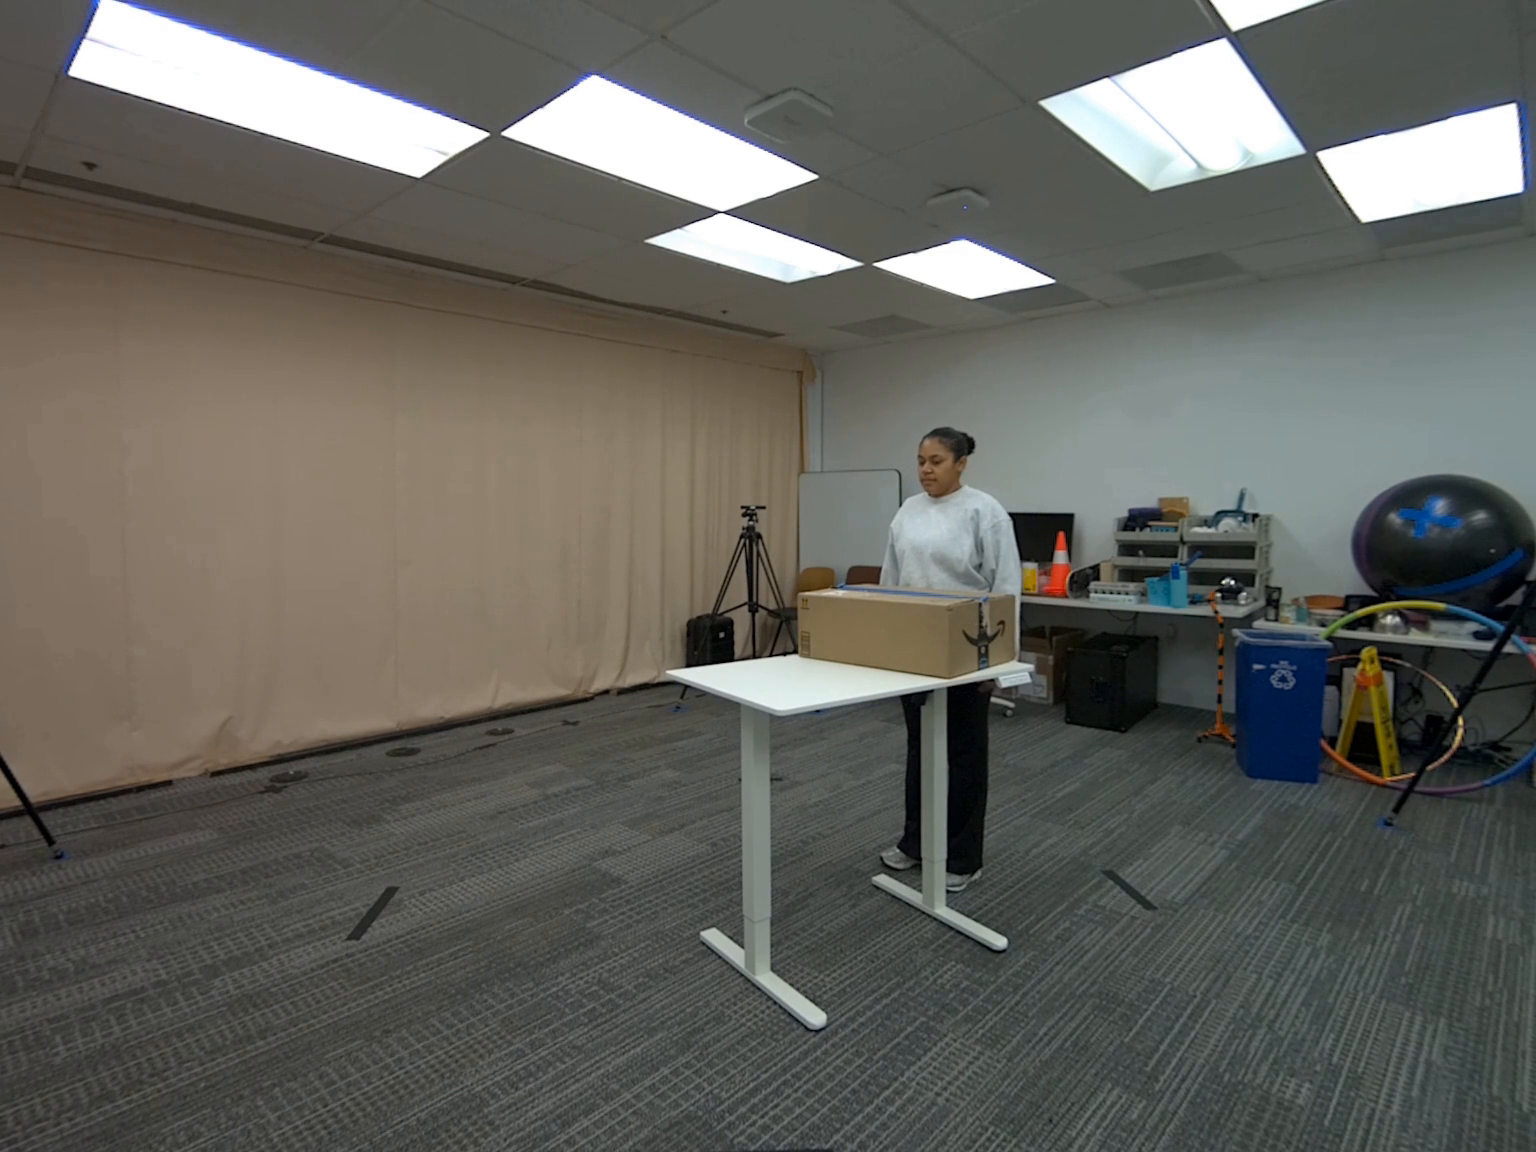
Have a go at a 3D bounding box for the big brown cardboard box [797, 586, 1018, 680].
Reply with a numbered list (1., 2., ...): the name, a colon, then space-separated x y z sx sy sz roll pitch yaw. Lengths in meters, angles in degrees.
1. big brown cardboard box: 0.454 0.167 2.788 0.609 0.232 0.405 5 7 43
